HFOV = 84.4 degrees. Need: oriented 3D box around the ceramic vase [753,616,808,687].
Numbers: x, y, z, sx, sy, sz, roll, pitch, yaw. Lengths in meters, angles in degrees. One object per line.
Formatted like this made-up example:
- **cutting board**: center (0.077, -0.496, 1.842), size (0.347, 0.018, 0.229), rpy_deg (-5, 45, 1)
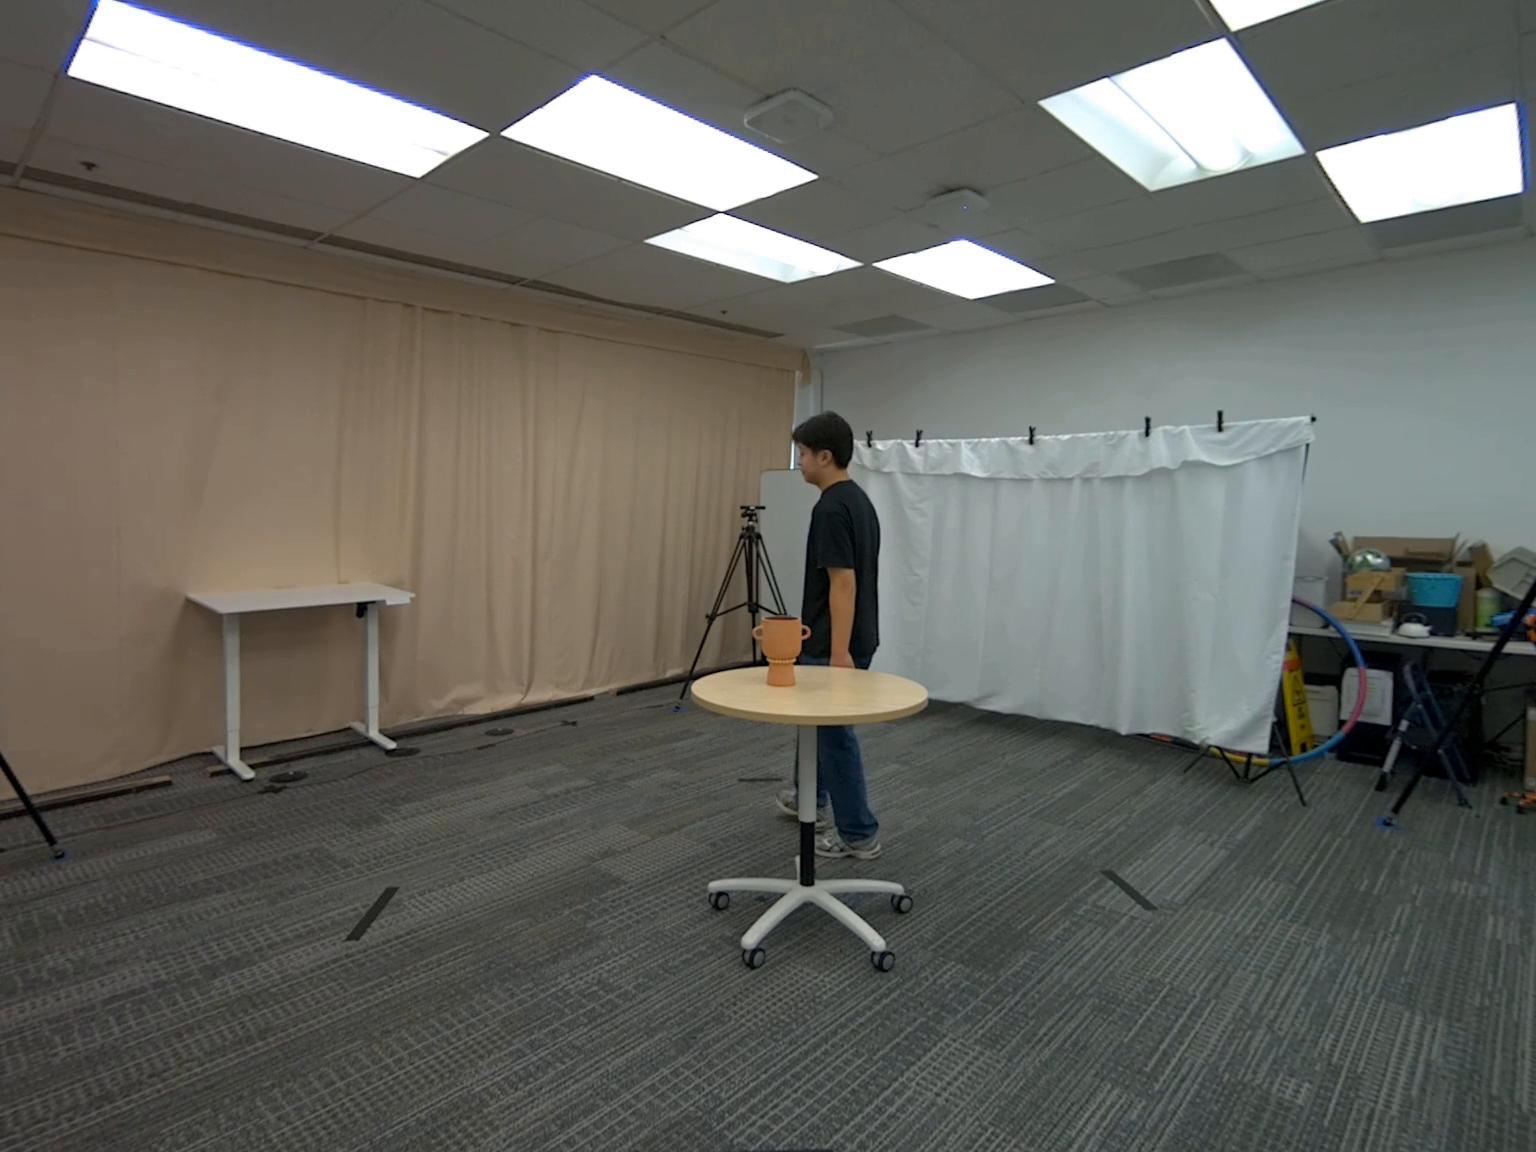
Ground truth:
- **ceramic vase**: center (0.050, 0.251, 2.813), size (0.163, 0.219, 0.131), rpy_deg (1, 2, 26)
